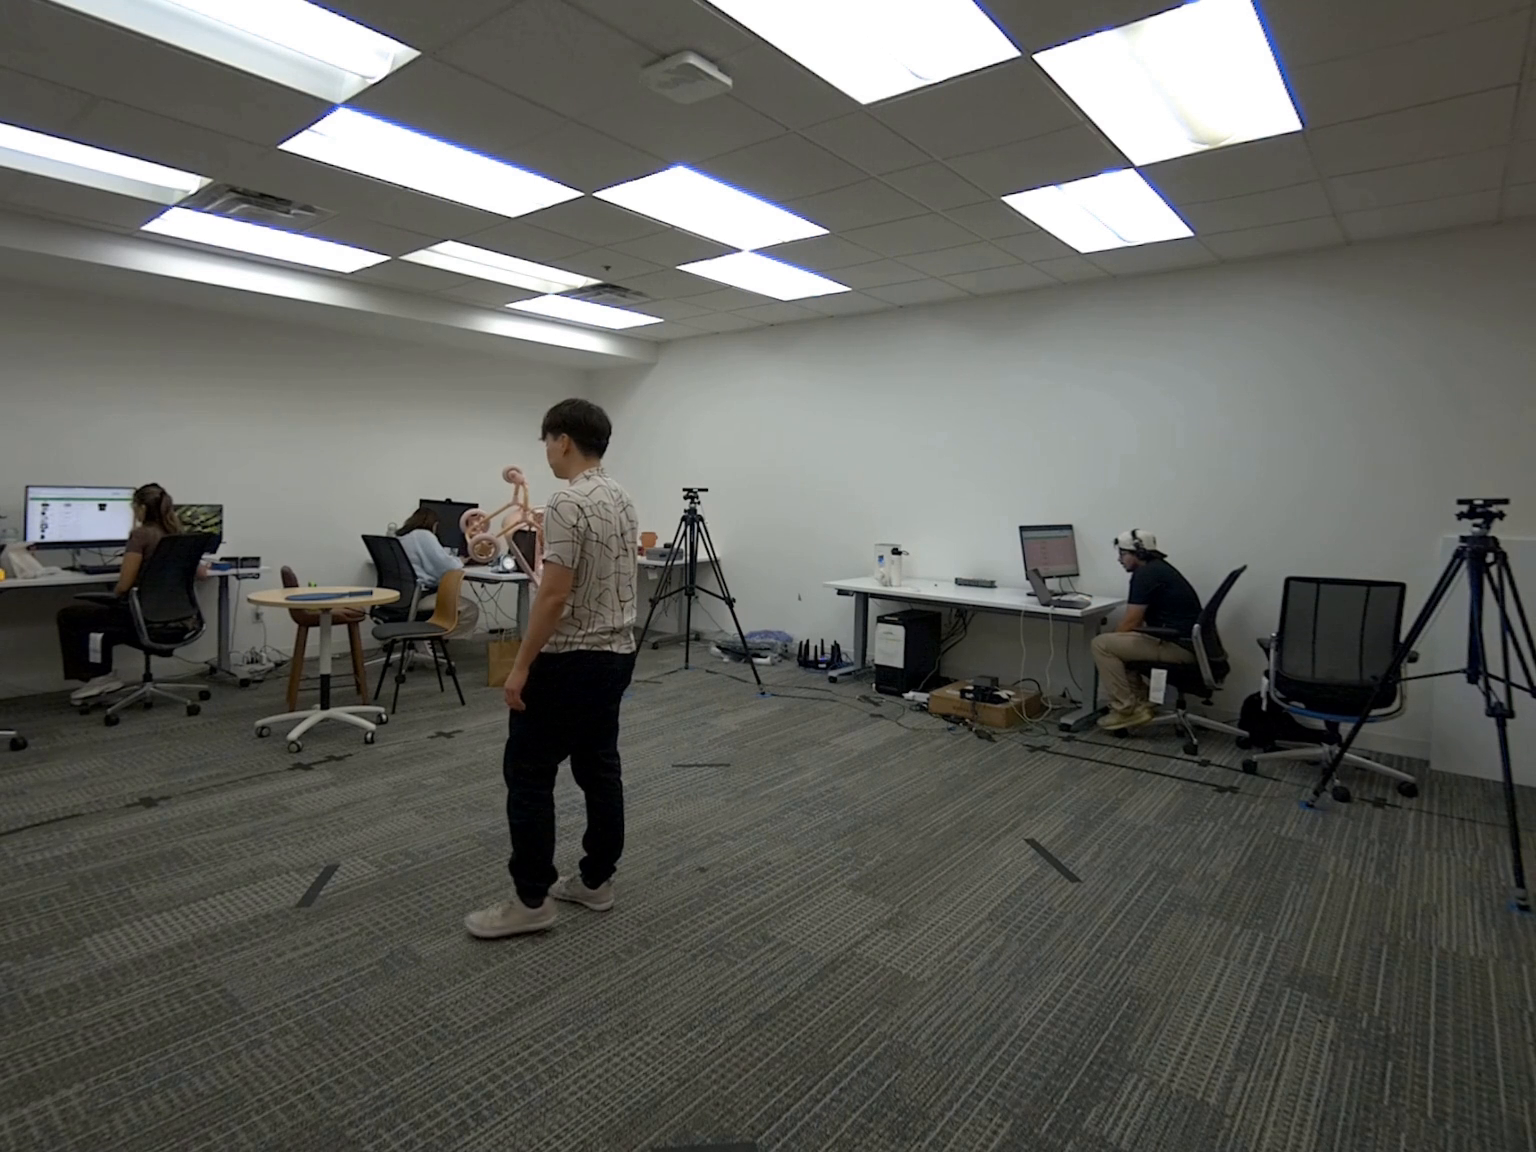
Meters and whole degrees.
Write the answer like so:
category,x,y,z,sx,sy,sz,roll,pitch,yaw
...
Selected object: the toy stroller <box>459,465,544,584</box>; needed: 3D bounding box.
category,x,y,z,sx,sy,sz,roll,pitch,yaw
toy stroller,-0.903,-0.128,3.143,0.515,0.341,0.292,49,-9,-32
